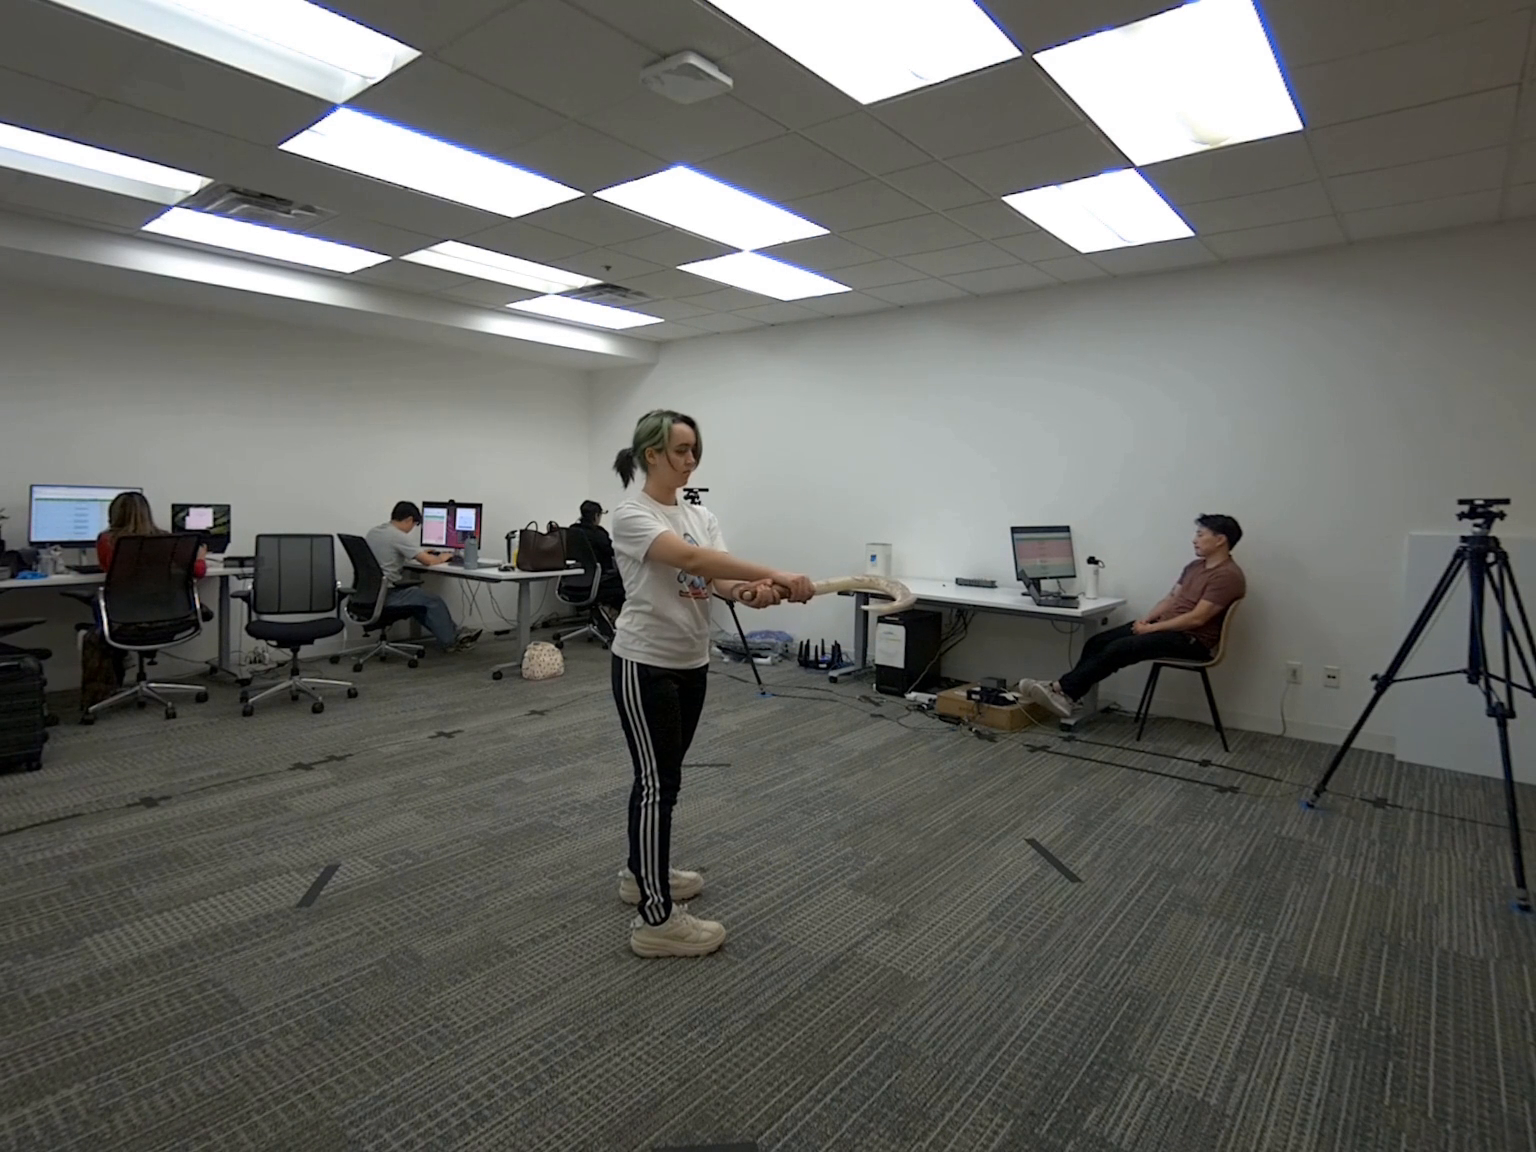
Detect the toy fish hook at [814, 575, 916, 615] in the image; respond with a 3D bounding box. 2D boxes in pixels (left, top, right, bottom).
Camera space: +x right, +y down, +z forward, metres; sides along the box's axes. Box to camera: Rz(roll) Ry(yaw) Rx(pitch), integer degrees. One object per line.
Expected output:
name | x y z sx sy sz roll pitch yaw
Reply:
toy fish hook | 0.169 0.057 2.371 0.498 0.047 0.232 -4 21 -18
